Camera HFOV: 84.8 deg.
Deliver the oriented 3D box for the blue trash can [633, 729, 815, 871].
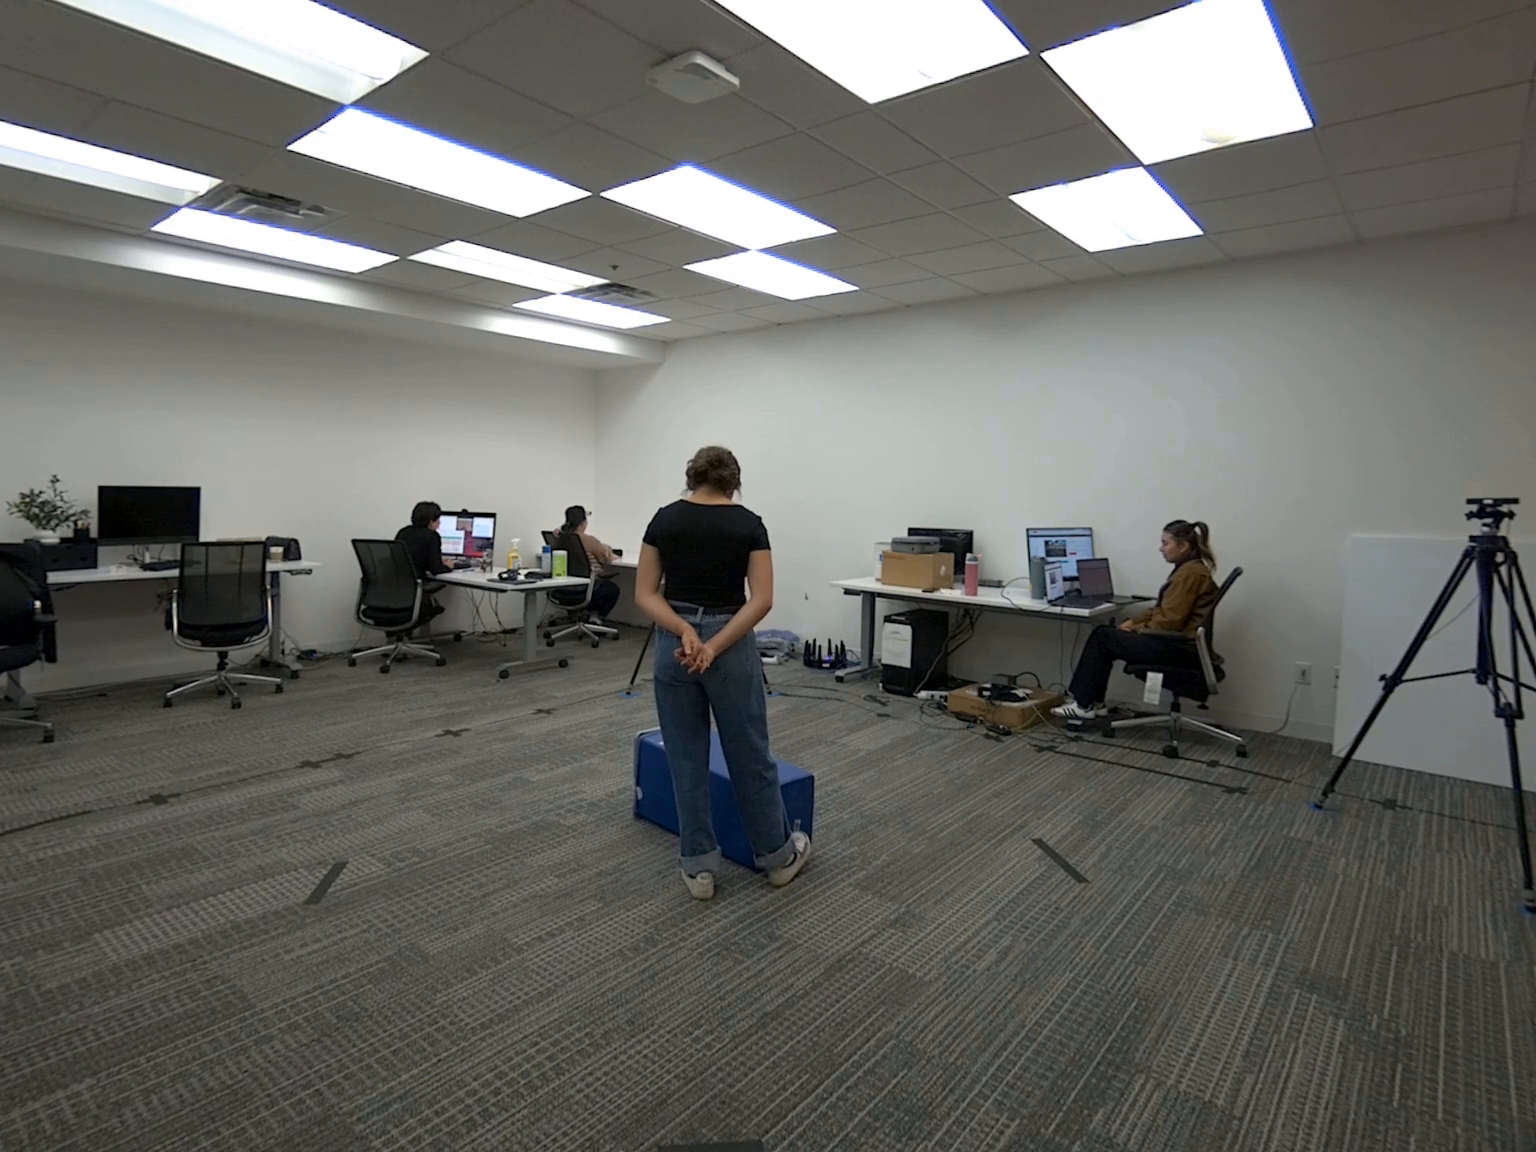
[{"bbox_3d":[-0.193,0.869,3.421,0.739,0.376,0.363,10,9,44],"label":"blue trash can"}]
